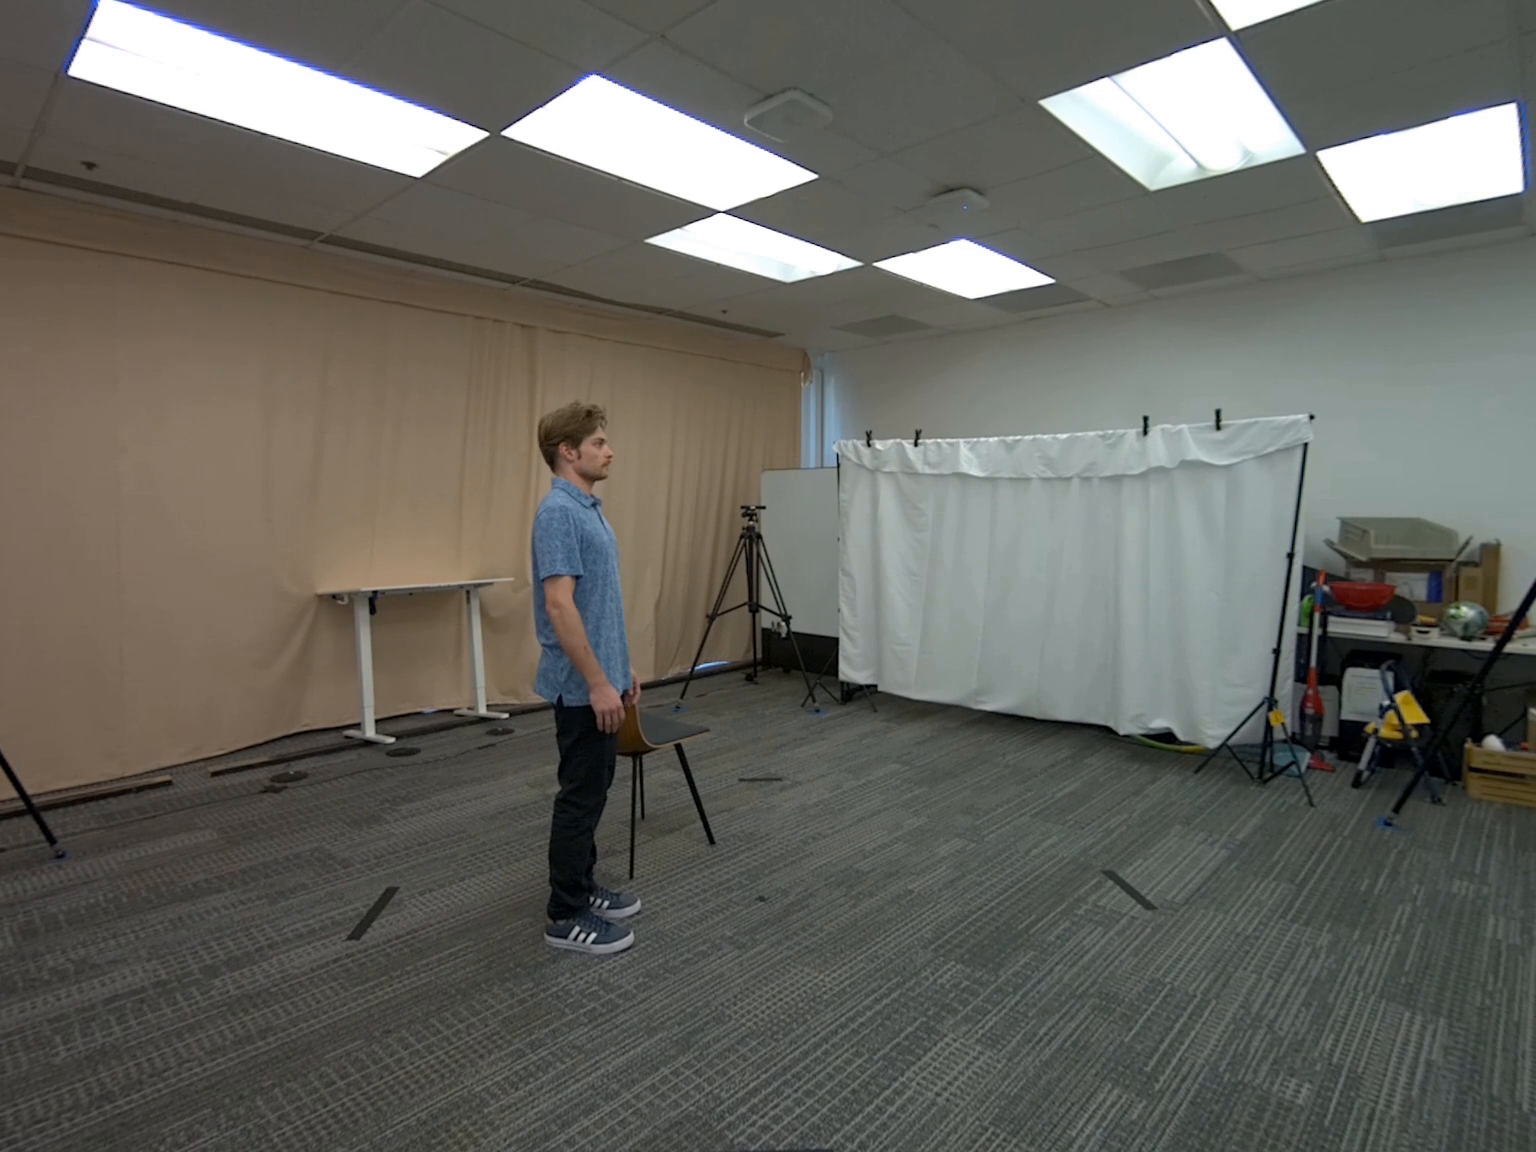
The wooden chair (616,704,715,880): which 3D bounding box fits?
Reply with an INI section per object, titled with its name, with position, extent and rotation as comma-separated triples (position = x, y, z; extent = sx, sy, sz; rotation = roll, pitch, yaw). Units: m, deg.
[wooden chair]
position = -0.530, 0.682, 3.431
extent = 0.494, 0.873, 0.508
rotation = 2, 8, 42
